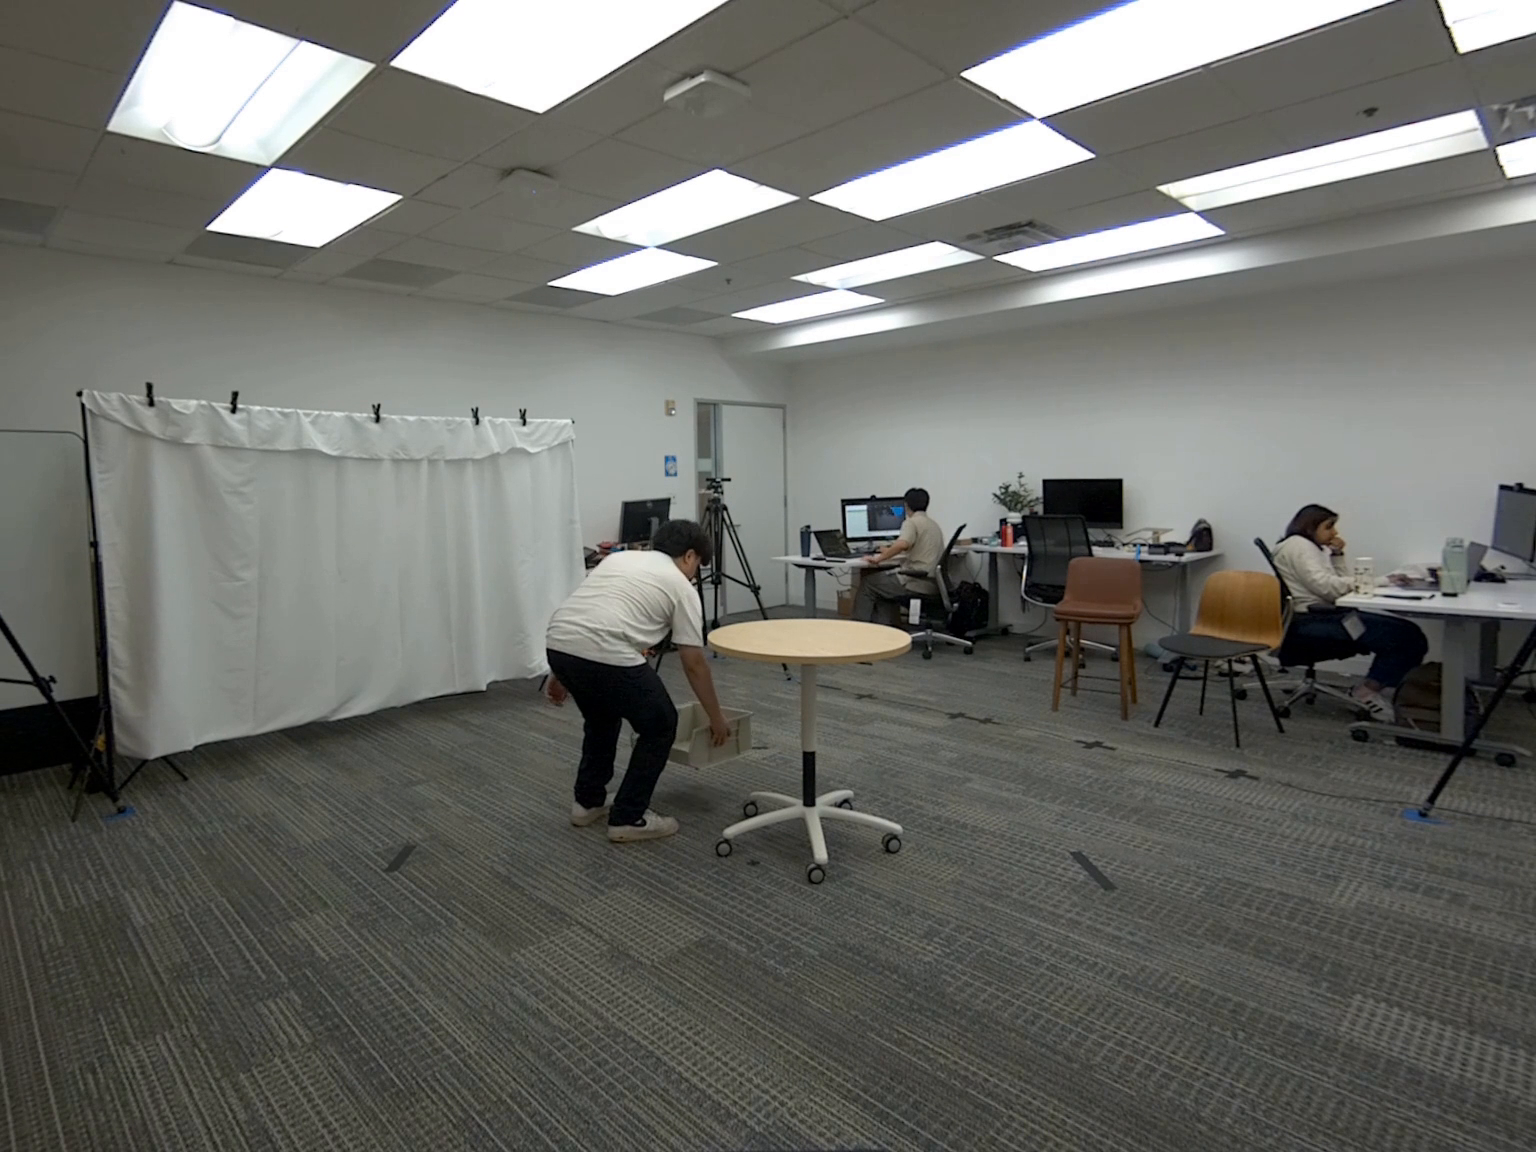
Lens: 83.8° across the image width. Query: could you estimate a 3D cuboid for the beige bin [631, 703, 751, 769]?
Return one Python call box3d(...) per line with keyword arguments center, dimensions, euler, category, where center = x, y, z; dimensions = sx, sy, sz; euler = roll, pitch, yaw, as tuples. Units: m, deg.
box3d(center=(-0.332, 0.699, 3.759), dimensions=(0.367, 0.189, 0.434), euler=(-6, 4, -43), category="beige bin")
